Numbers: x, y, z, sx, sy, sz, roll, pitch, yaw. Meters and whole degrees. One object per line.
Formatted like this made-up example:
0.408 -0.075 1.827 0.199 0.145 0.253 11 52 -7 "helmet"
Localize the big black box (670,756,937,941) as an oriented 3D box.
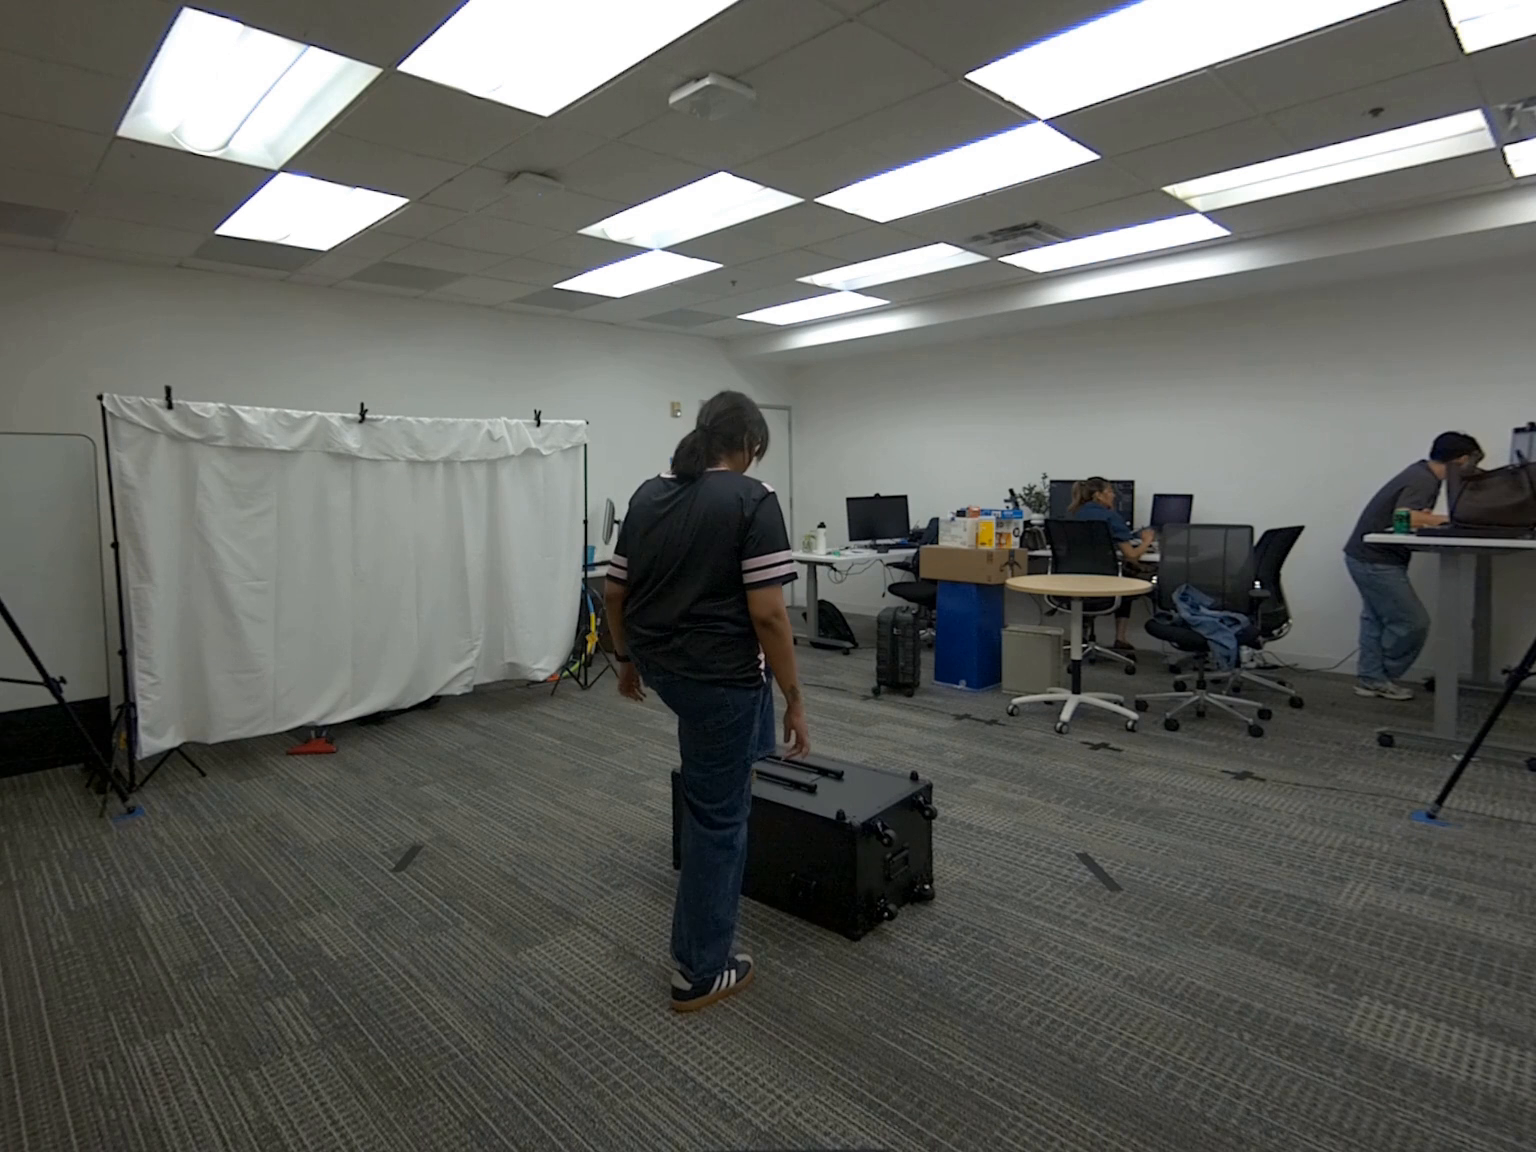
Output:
0.142 0.873 2.977 0.895 0.384 0.509 4 6 40 "big black box"
